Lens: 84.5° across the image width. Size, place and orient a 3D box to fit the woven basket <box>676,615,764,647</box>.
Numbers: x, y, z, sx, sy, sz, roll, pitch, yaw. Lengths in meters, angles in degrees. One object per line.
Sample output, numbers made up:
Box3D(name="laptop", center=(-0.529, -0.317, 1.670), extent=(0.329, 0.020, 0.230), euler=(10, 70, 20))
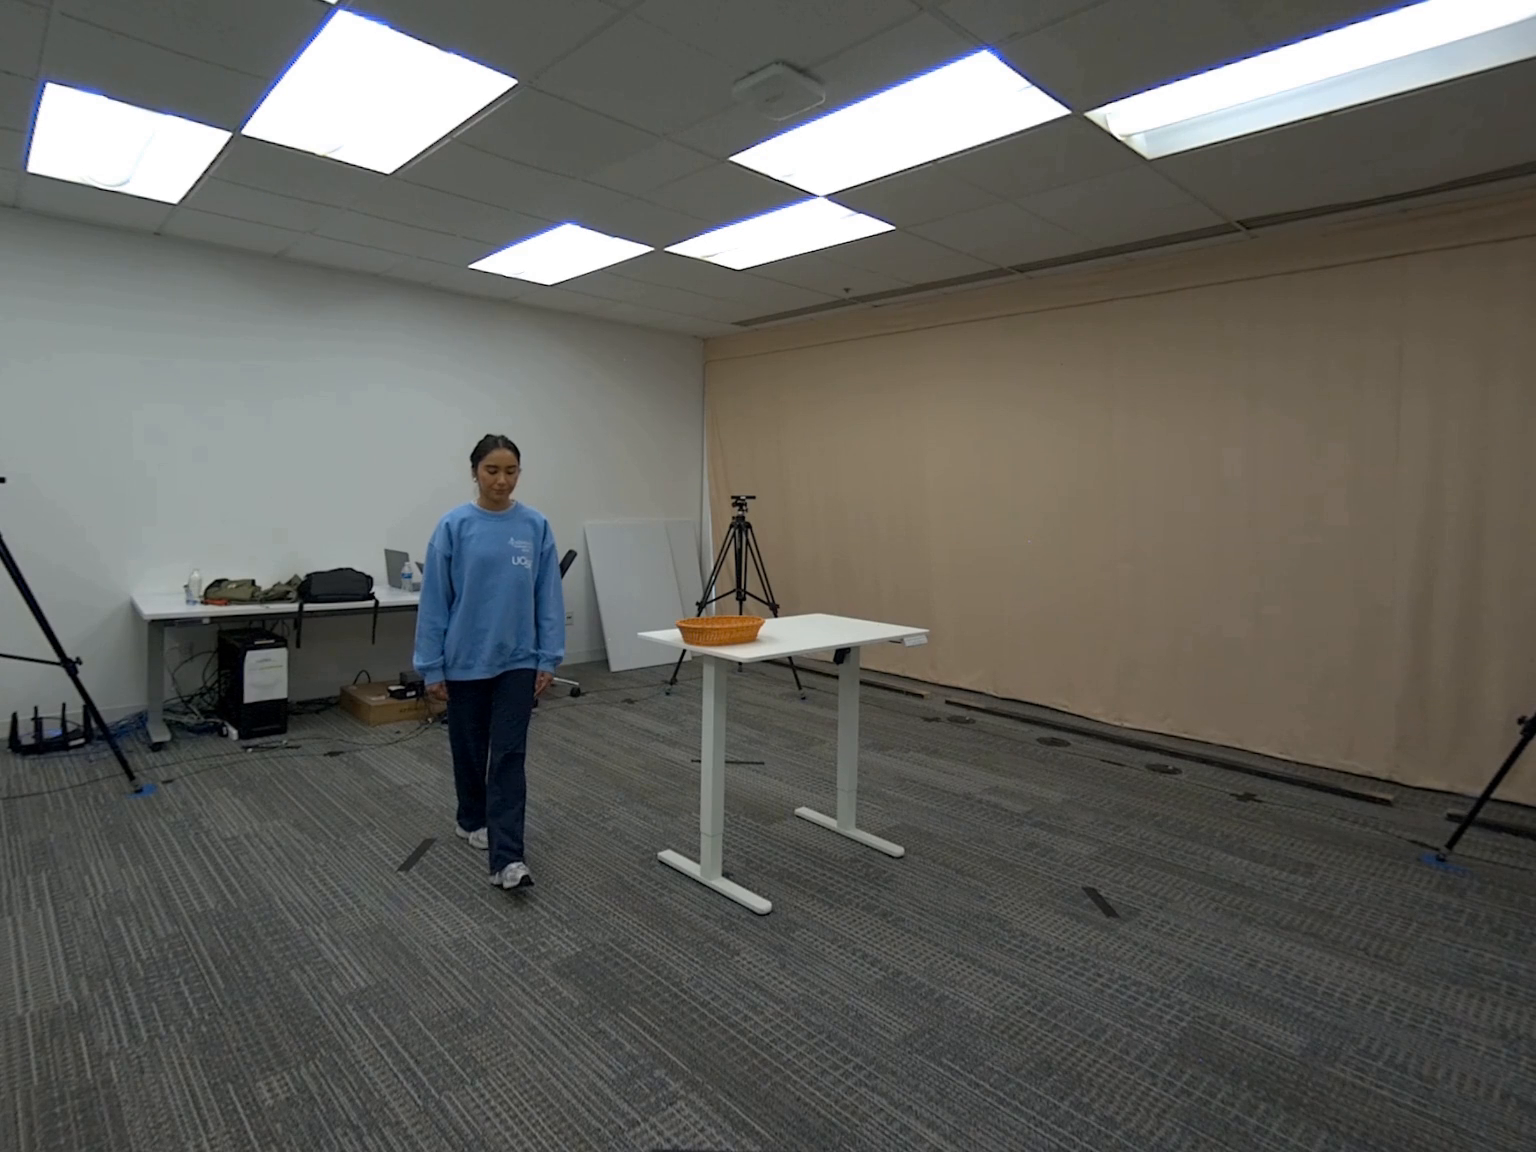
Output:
Box3D(name="woven basket", center=(-0.178, 0.201, 2.991), extent=(0.343, 0.073, 0.258), euler=(-3, 6, -35))
